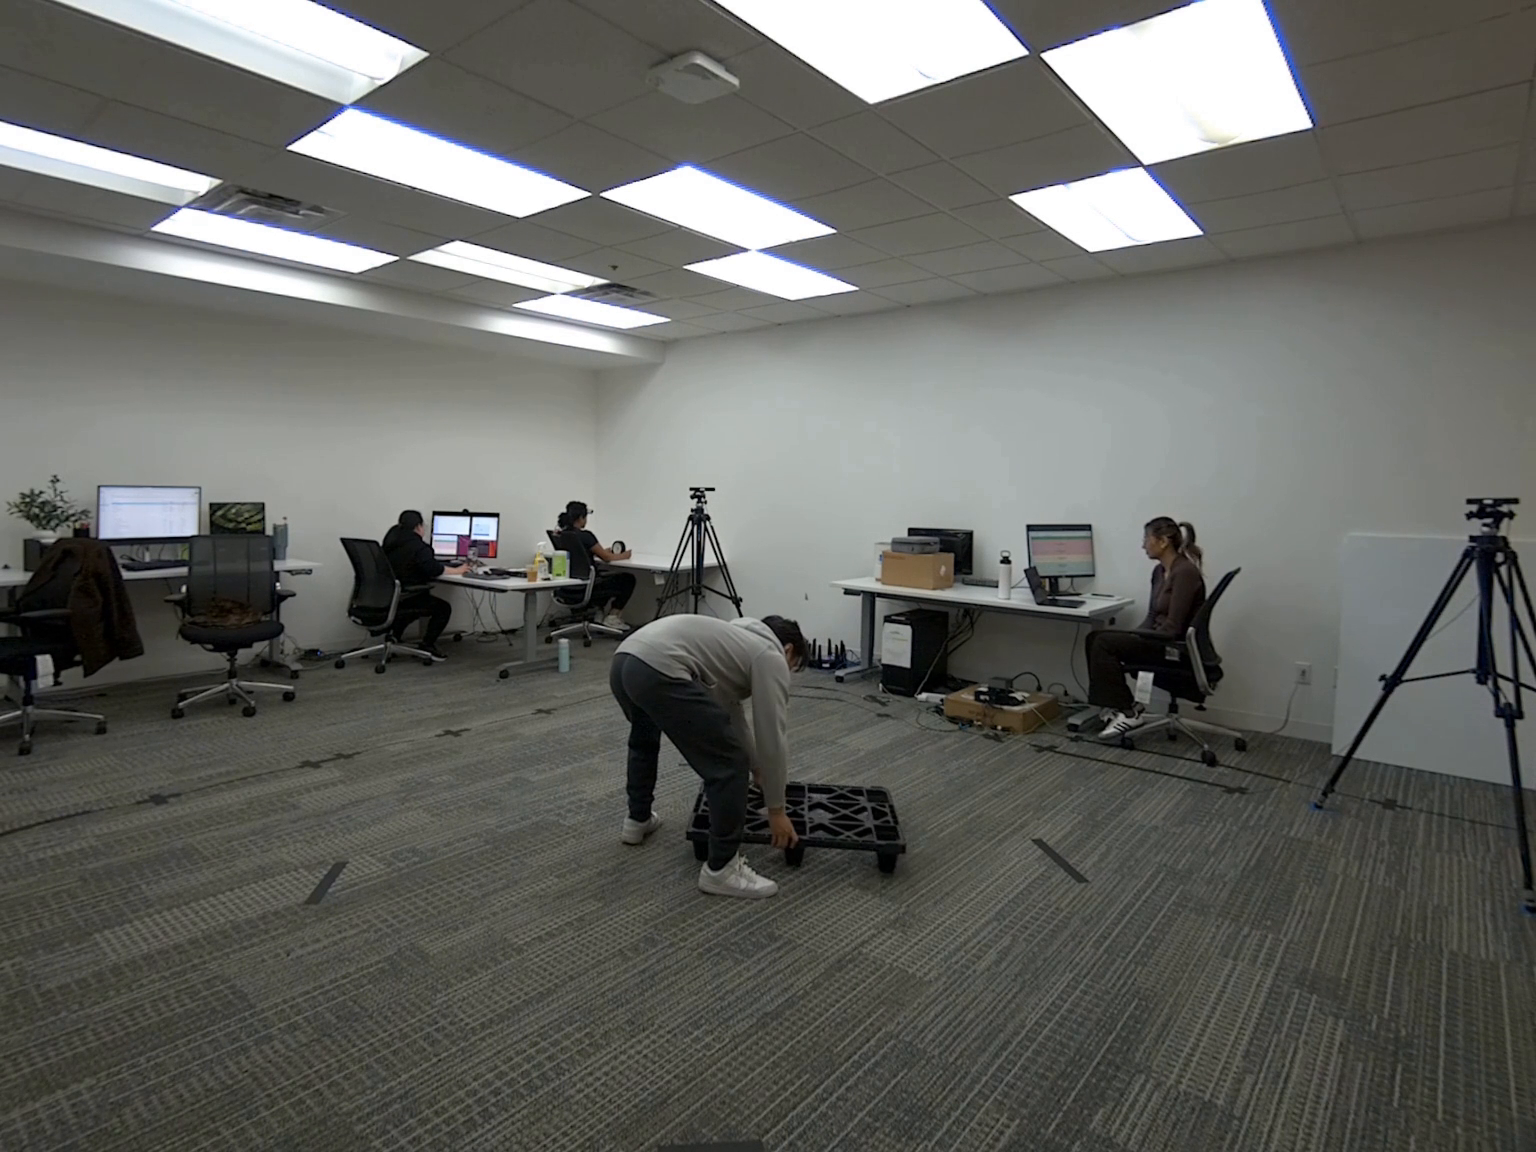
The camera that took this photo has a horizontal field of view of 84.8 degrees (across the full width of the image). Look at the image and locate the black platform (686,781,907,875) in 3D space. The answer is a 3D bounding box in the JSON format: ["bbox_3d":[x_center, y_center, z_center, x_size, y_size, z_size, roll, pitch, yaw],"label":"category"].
[{"bbox_3d":[0.092,0.977,3.376,0.810,0.143,0.604,2,5,4],"label":"black platform"}]
